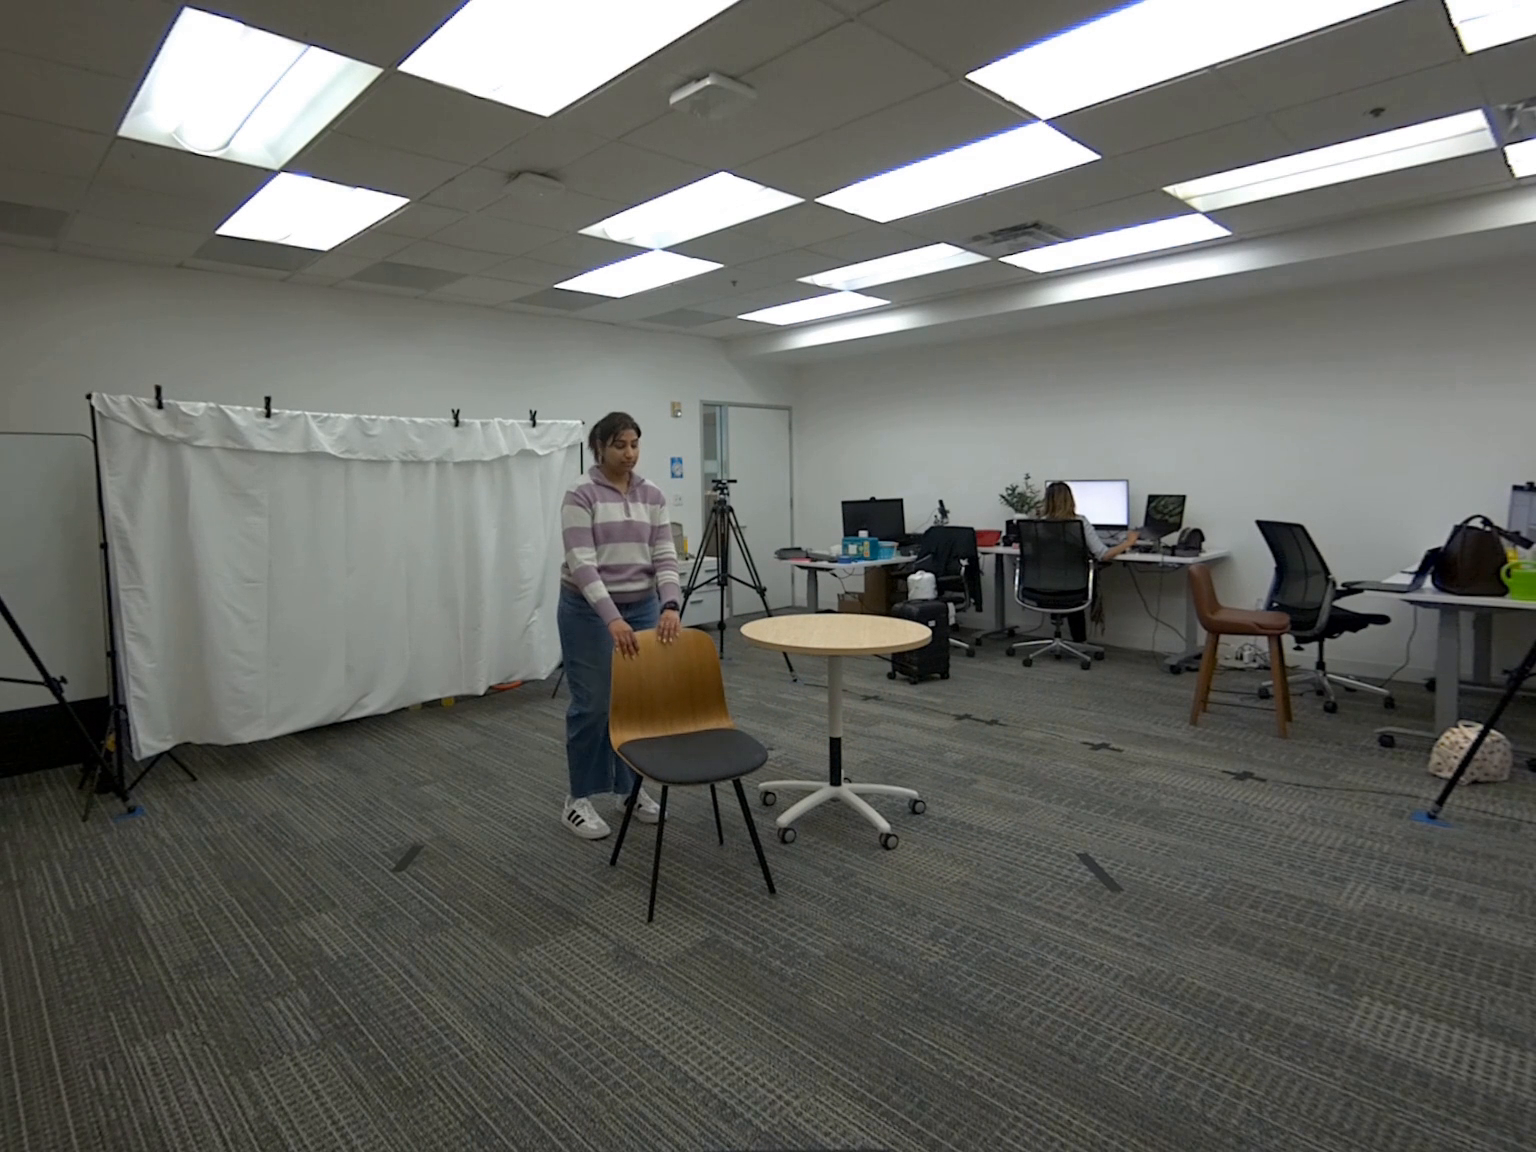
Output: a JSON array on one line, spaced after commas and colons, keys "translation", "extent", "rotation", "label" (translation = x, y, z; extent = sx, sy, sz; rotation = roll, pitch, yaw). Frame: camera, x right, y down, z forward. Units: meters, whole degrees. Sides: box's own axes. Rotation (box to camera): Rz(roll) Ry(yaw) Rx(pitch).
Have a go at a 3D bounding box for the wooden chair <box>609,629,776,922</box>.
[{"translation": [-0.276, 0.640, 2.956], "extent": [0.468, 0.877, 0.534], "rotation": [-3, 0, -25], "label": "wooden chair"}]
